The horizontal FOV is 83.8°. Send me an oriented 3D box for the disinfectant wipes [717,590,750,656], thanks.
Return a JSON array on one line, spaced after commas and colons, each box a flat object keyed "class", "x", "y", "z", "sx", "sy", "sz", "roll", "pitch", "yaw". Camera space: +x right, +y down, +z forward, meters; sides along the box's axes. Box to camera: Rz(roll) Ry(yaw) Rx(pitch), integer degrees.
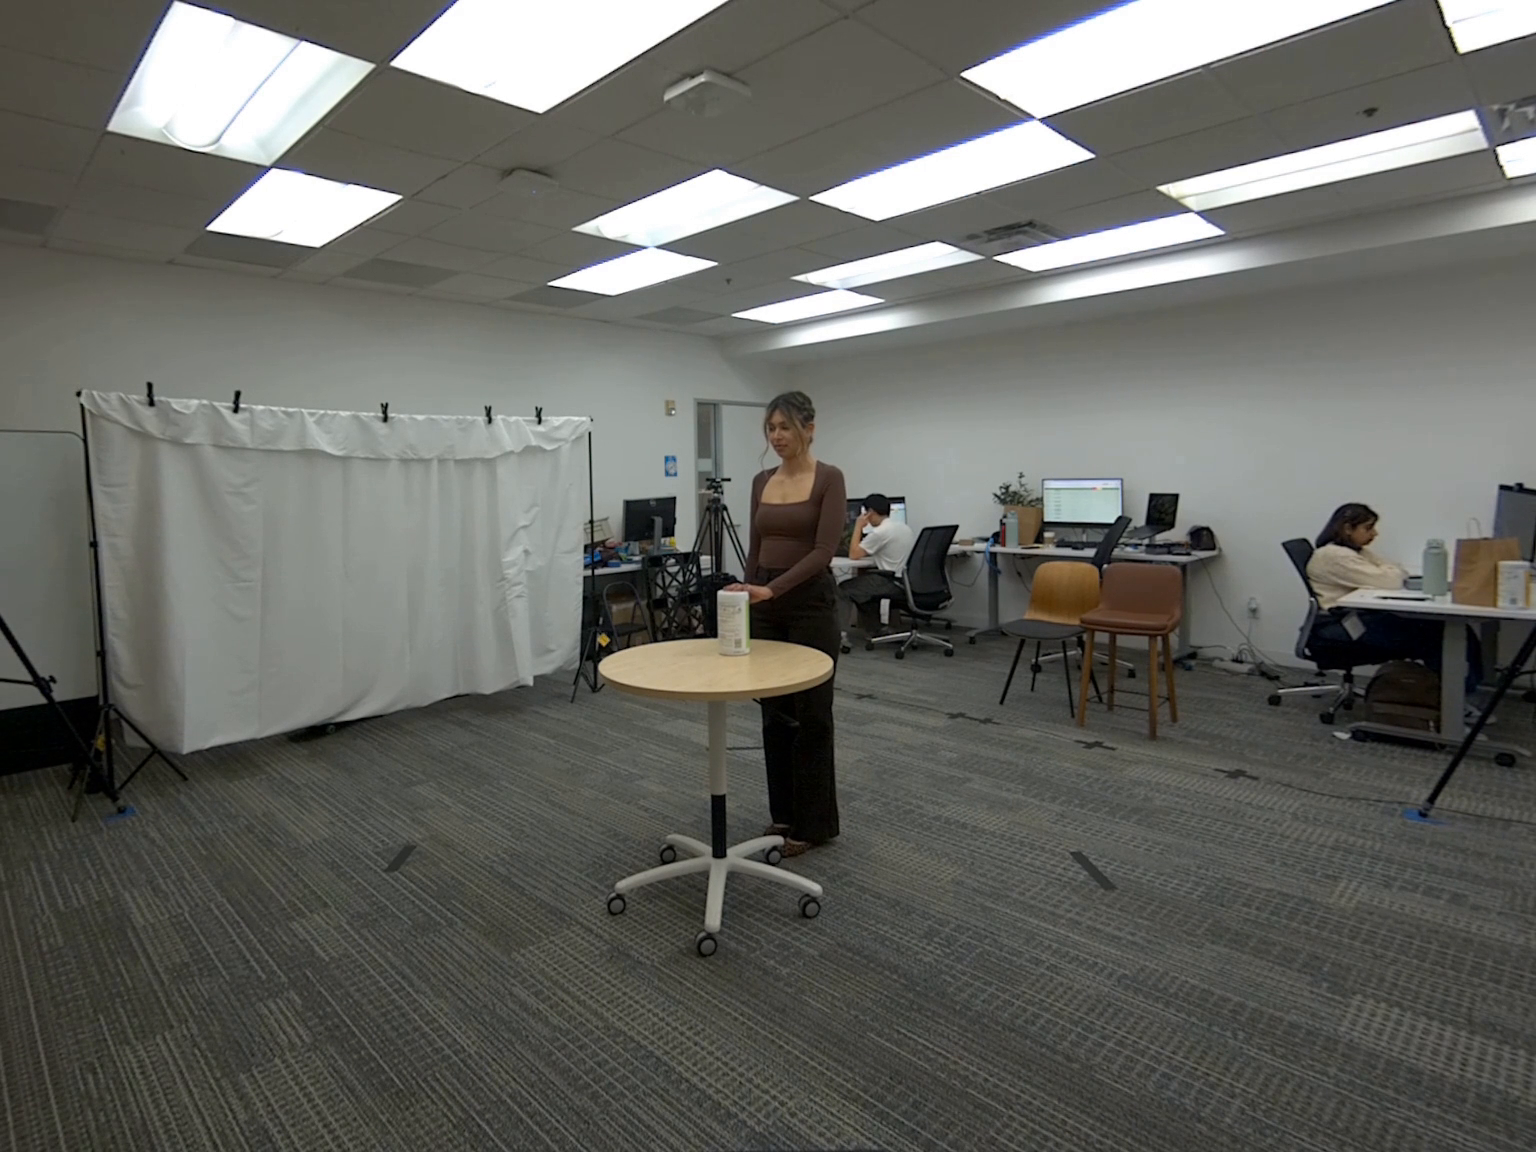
[{"class": "disinfectant wipes", "x": -0.110, "y": 0.159, "z": 2.926, "sx": 0.118, "sy": 0.217, "sz": 0.118, "roll": 1, "pitch": 3, "yaw": -2}]
